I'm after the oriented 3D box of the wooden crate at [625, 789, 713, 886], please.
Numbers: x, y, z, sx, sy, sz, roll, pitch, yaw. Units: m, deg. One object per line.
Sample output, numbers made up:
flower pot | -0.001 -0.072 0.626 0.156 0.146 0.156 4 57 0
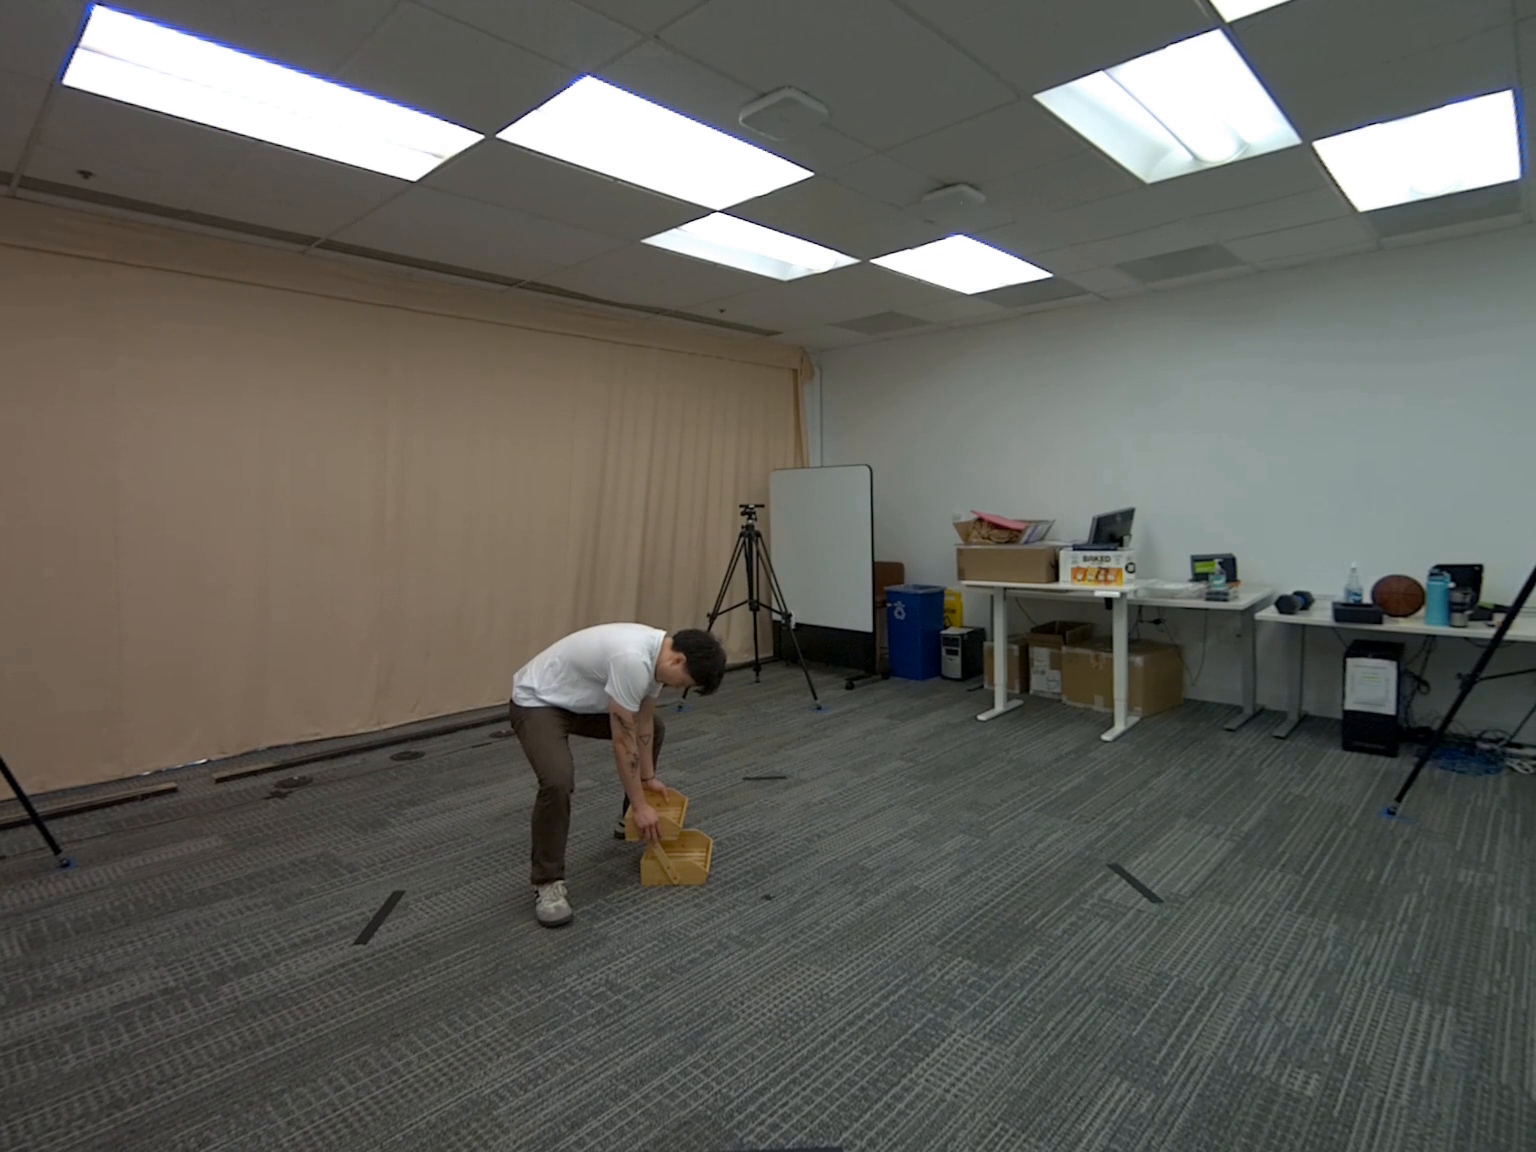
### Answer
wooden crate | -0.373 0.995 3.240 0.303 0.273 0.324 -2 4 1
